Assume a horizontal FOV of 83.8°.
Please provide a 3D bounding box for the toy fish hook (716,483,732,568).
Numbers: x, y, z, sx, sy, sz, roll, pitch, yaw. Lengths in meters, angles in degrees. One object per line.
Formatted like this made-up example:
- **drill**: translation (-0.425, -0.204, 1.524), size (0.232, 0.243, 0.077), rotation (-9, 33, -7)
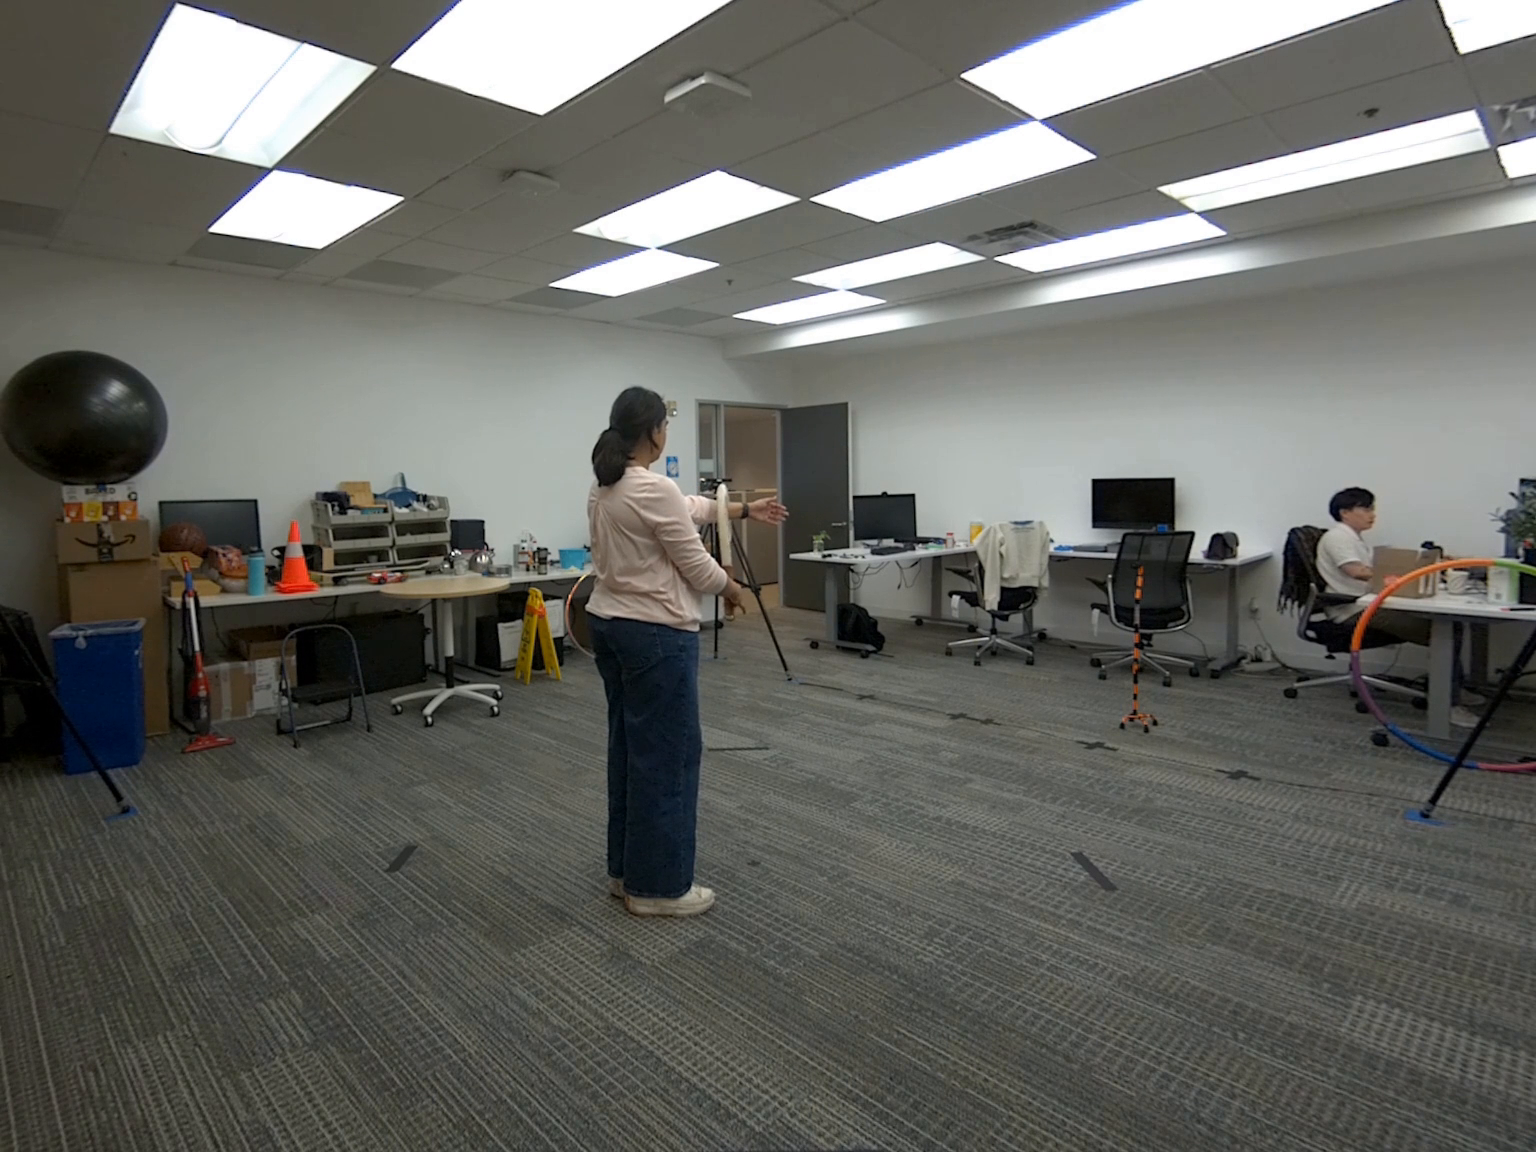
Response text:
- **toy fish hook**: translation (-0.154, -0.083, 3.148), size (0.049, 0.511, 0.220), rotation (-1, -9, 9)
